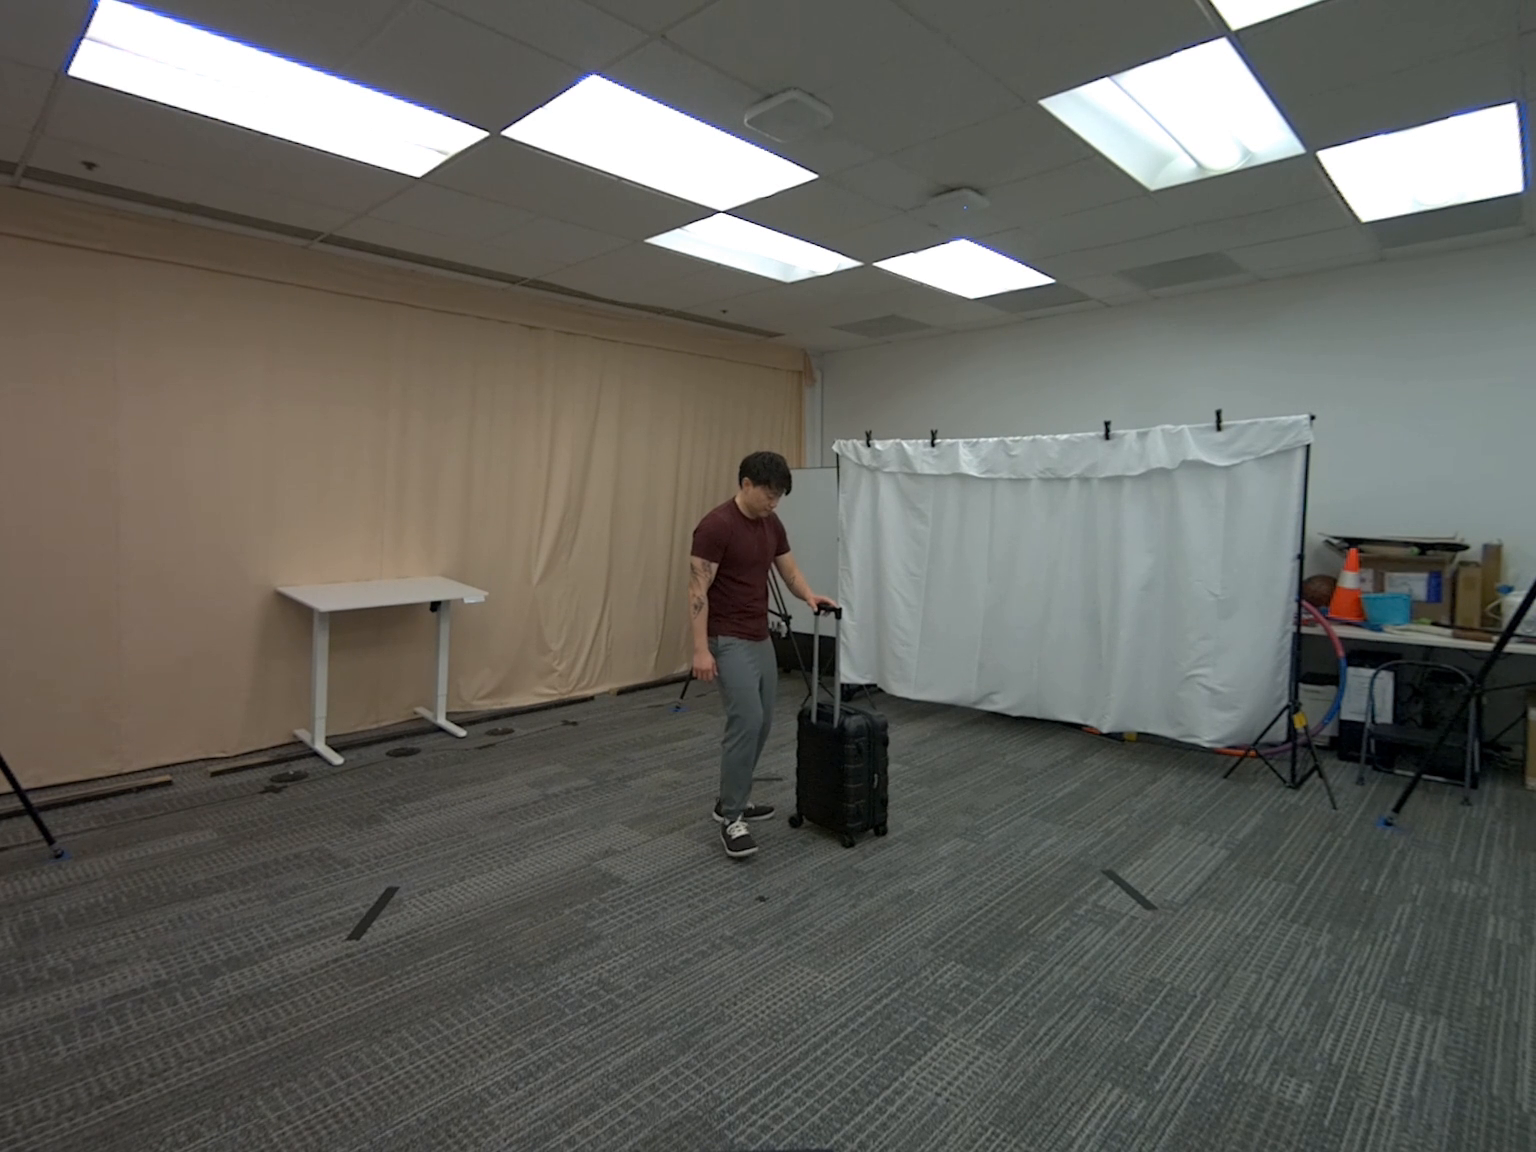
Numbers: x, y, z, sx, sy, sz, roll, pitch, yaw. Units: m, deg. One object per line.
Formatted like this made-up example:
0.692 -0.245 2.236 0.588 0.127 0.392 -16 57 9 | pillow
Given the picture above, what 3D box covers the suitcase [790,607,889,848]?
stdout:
0.324 0.611 3.564 0.249 0.976 0.397 0 5 -39 | suitcase
